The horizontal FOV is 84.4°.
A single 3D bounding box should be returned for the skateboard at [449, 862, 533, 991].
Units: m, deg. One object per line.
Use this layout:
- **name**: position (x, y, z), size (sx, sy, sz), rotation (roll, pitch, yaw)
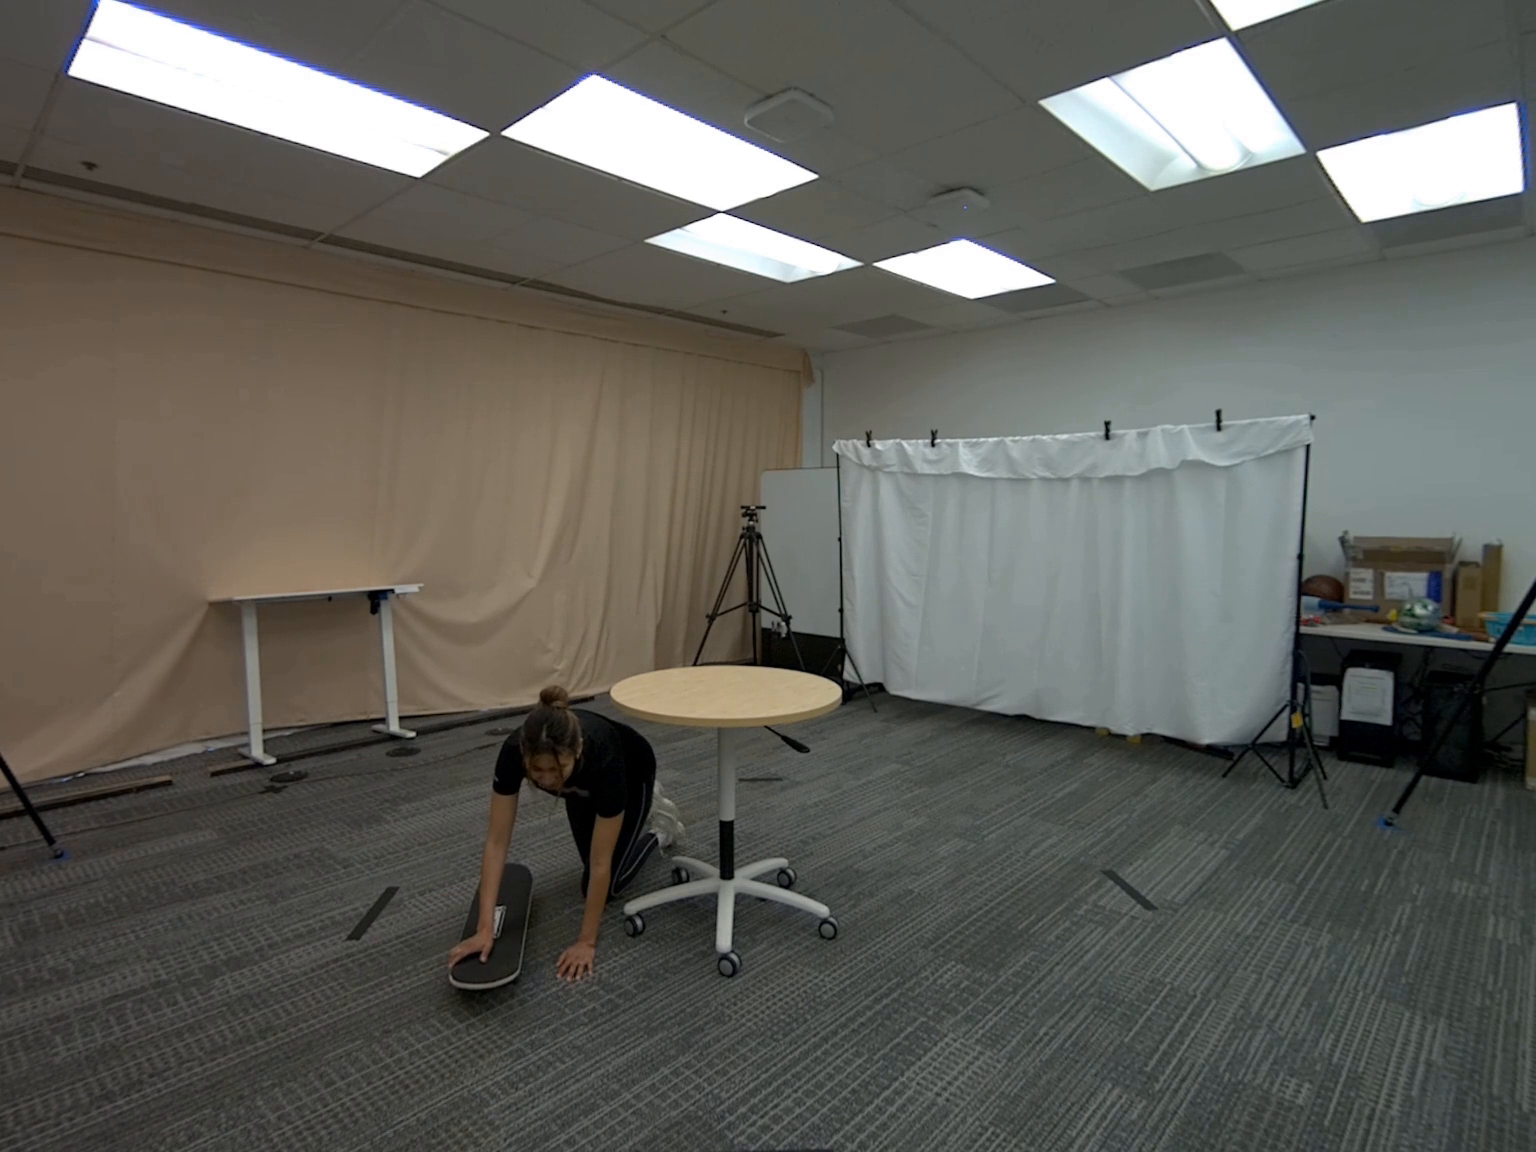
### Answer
- **skateboard**: position (-0.854, 1.122, 2.657), size (0.191, 0.110, 0.794), rotation (-1, 4, -10)
